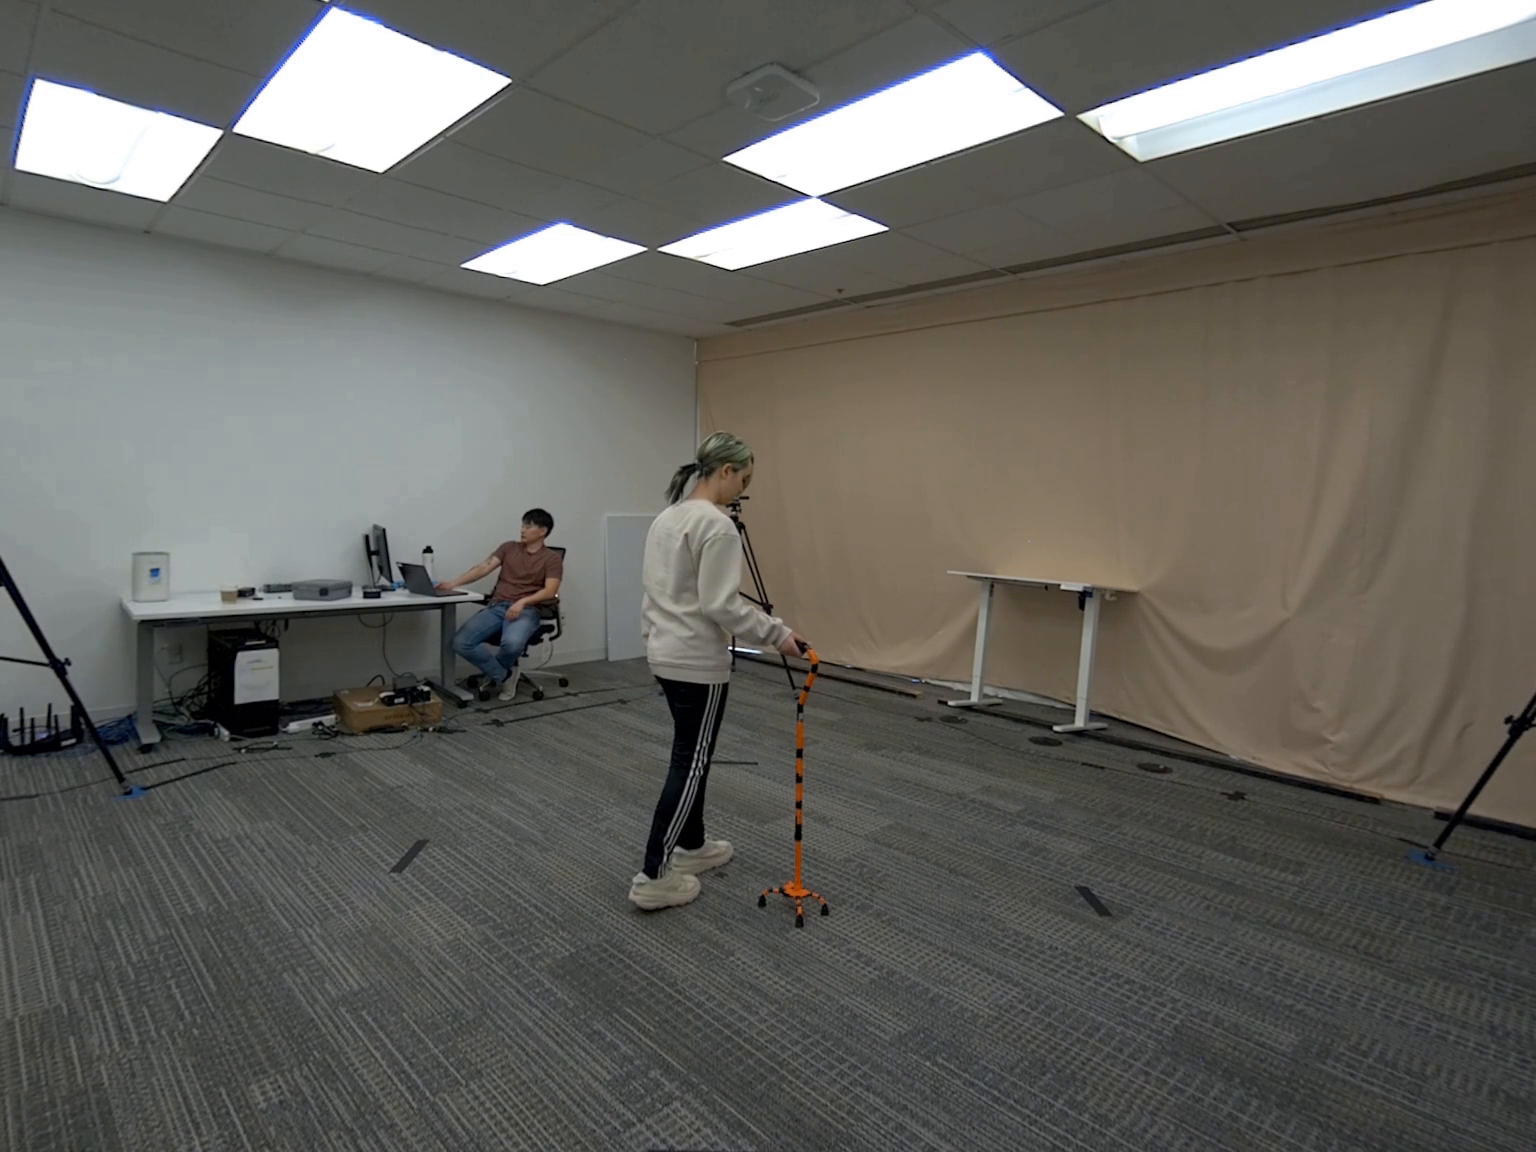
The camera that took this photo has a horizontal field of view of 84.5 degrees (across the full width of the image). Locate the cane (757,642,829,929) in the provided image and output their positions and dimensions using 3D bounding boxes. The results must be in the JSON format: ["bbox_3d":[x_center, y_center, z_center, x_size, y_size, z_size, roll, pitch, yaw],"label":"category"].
[{"bbox_3d":[0.096,0.684,2.827,0.148,0.906,0.212,0,3,-44],"label":"cane"}]
